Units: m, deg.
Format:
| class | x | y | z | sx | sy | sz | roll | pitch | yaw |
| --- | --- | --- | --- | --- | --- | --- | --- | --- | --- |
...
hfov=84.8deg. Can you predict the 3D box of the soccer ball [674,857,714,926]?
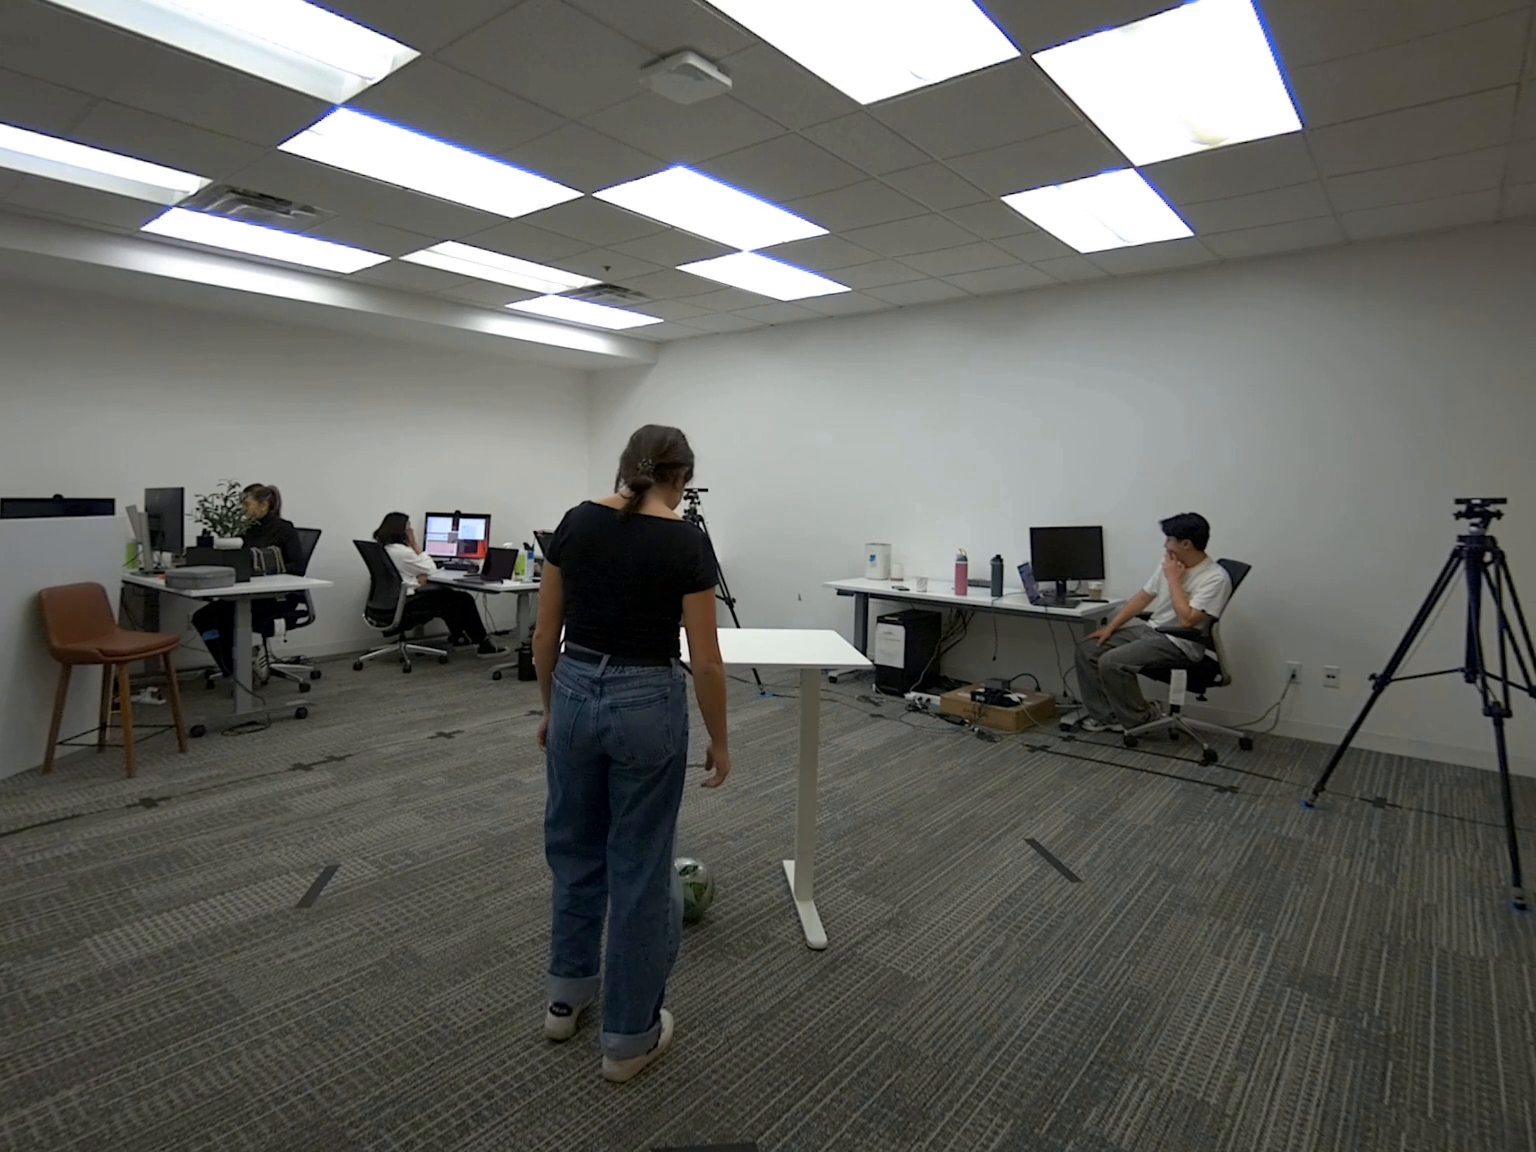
| class | x | y | z | sx | sy | sz | roll | pitch | yaw |
| --- | --- | --- | --- | --- | --- | --- | --- | --- | --- |
| soccer ball | -0.261 | 1.008 | 2.760 | 0.187 | 0.187 | 0.188 | 1 | 4 | -2 |
